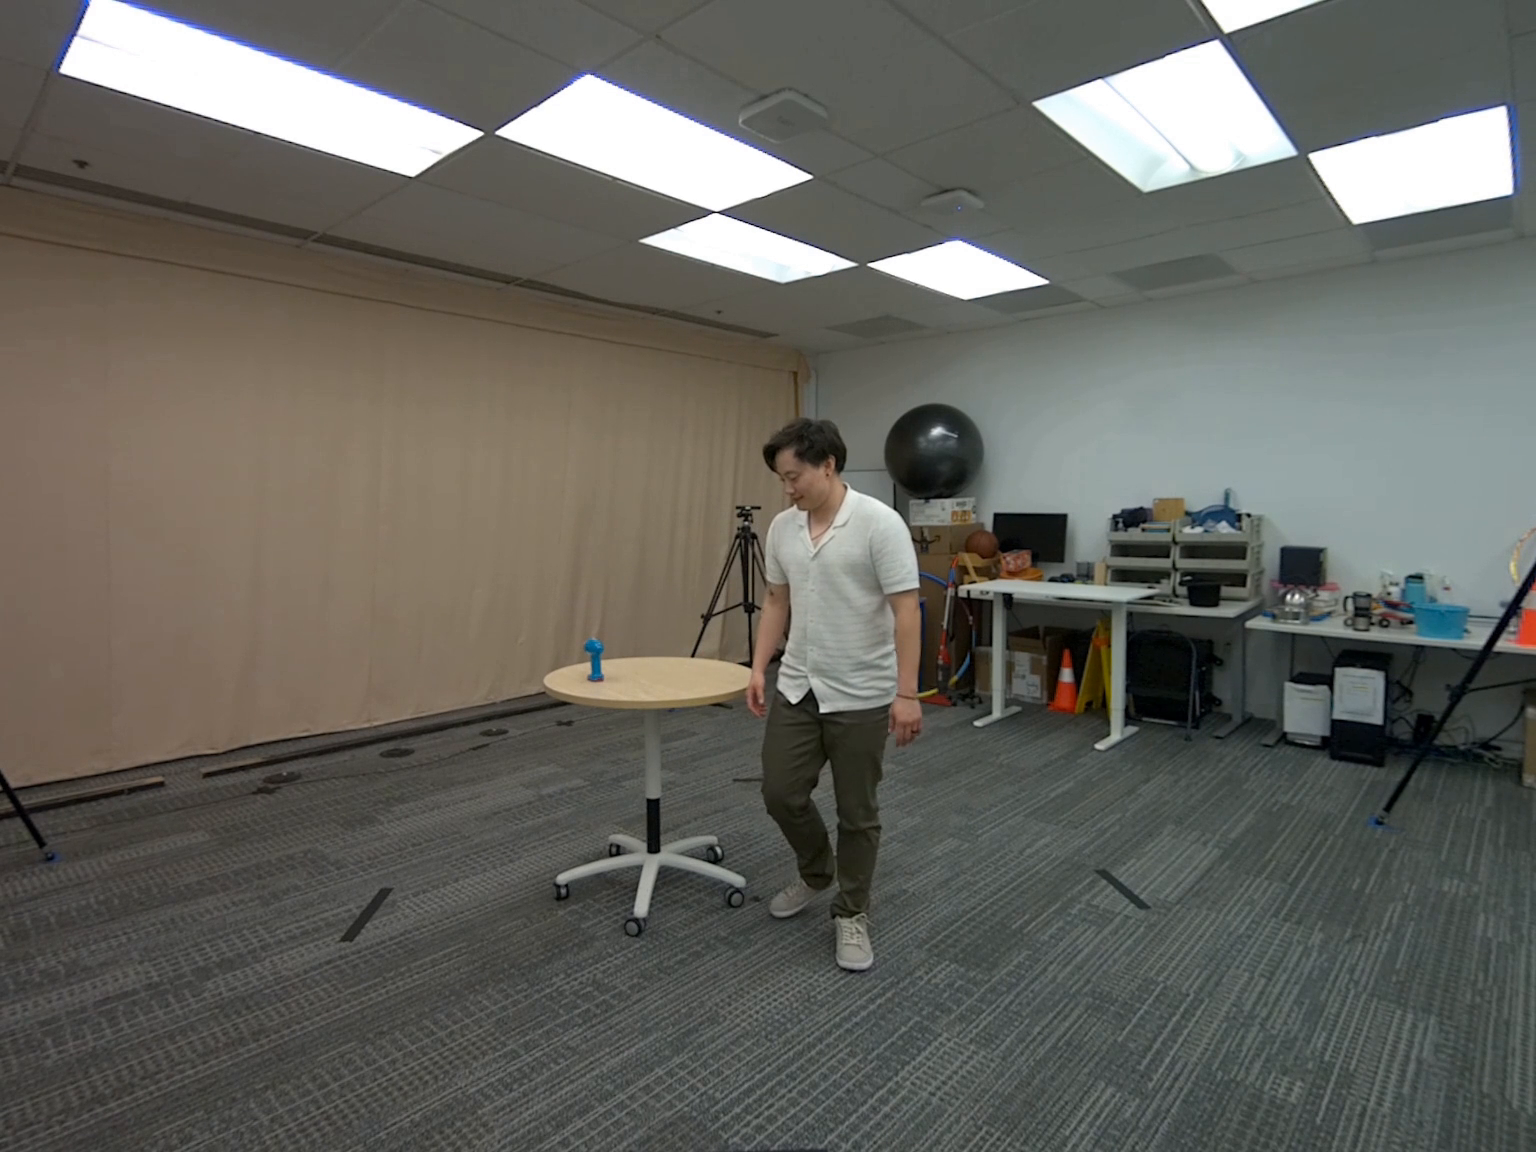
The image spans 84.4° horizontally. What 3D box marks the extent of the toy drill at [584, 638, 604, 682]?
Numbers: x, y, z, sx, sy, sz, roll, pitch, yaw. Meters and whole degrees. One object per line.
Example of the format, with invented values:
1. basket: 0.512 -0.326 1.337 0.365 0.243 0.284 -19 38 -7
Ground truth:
1. toy drill: -0.625 0.291 2.982 0.059 0.146 0.175 -1 5 -33
